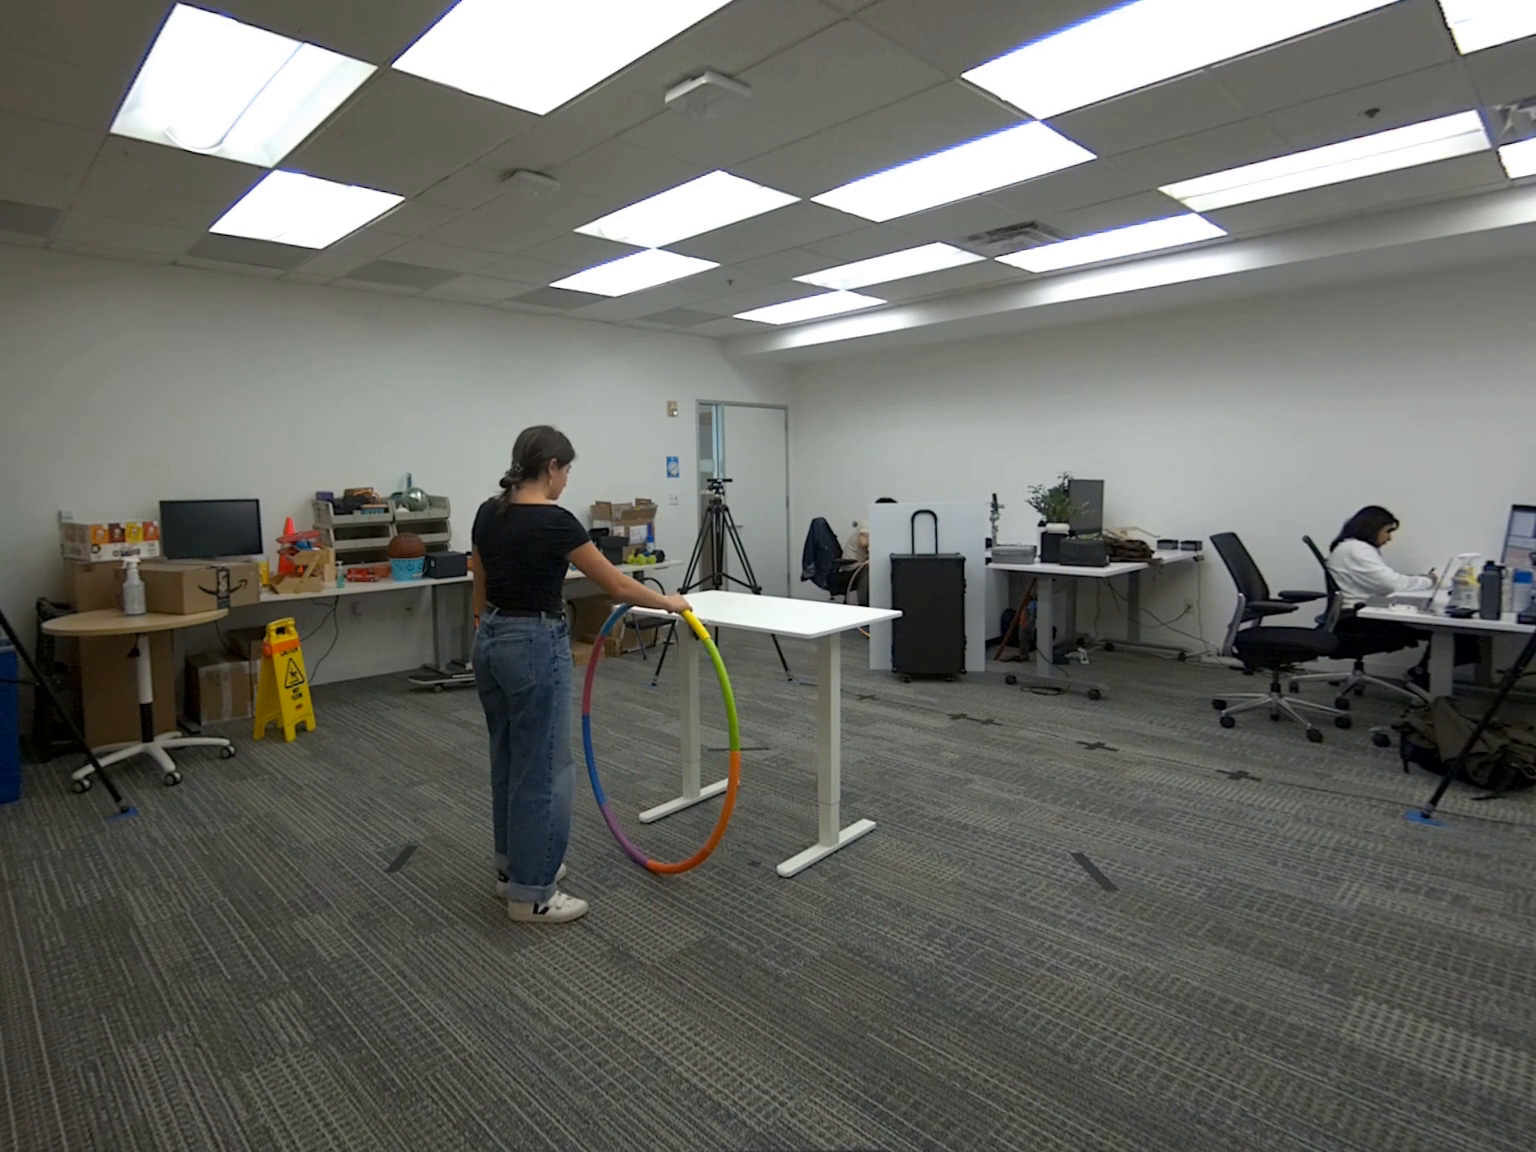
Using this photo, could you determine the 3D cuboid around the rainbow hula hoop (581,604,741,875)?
[{"bbox_3d":[-0.426,0.557,3.096,0.034,0.978,1.008,2,2,-39],"label":"rainbow hula hoop"}]
